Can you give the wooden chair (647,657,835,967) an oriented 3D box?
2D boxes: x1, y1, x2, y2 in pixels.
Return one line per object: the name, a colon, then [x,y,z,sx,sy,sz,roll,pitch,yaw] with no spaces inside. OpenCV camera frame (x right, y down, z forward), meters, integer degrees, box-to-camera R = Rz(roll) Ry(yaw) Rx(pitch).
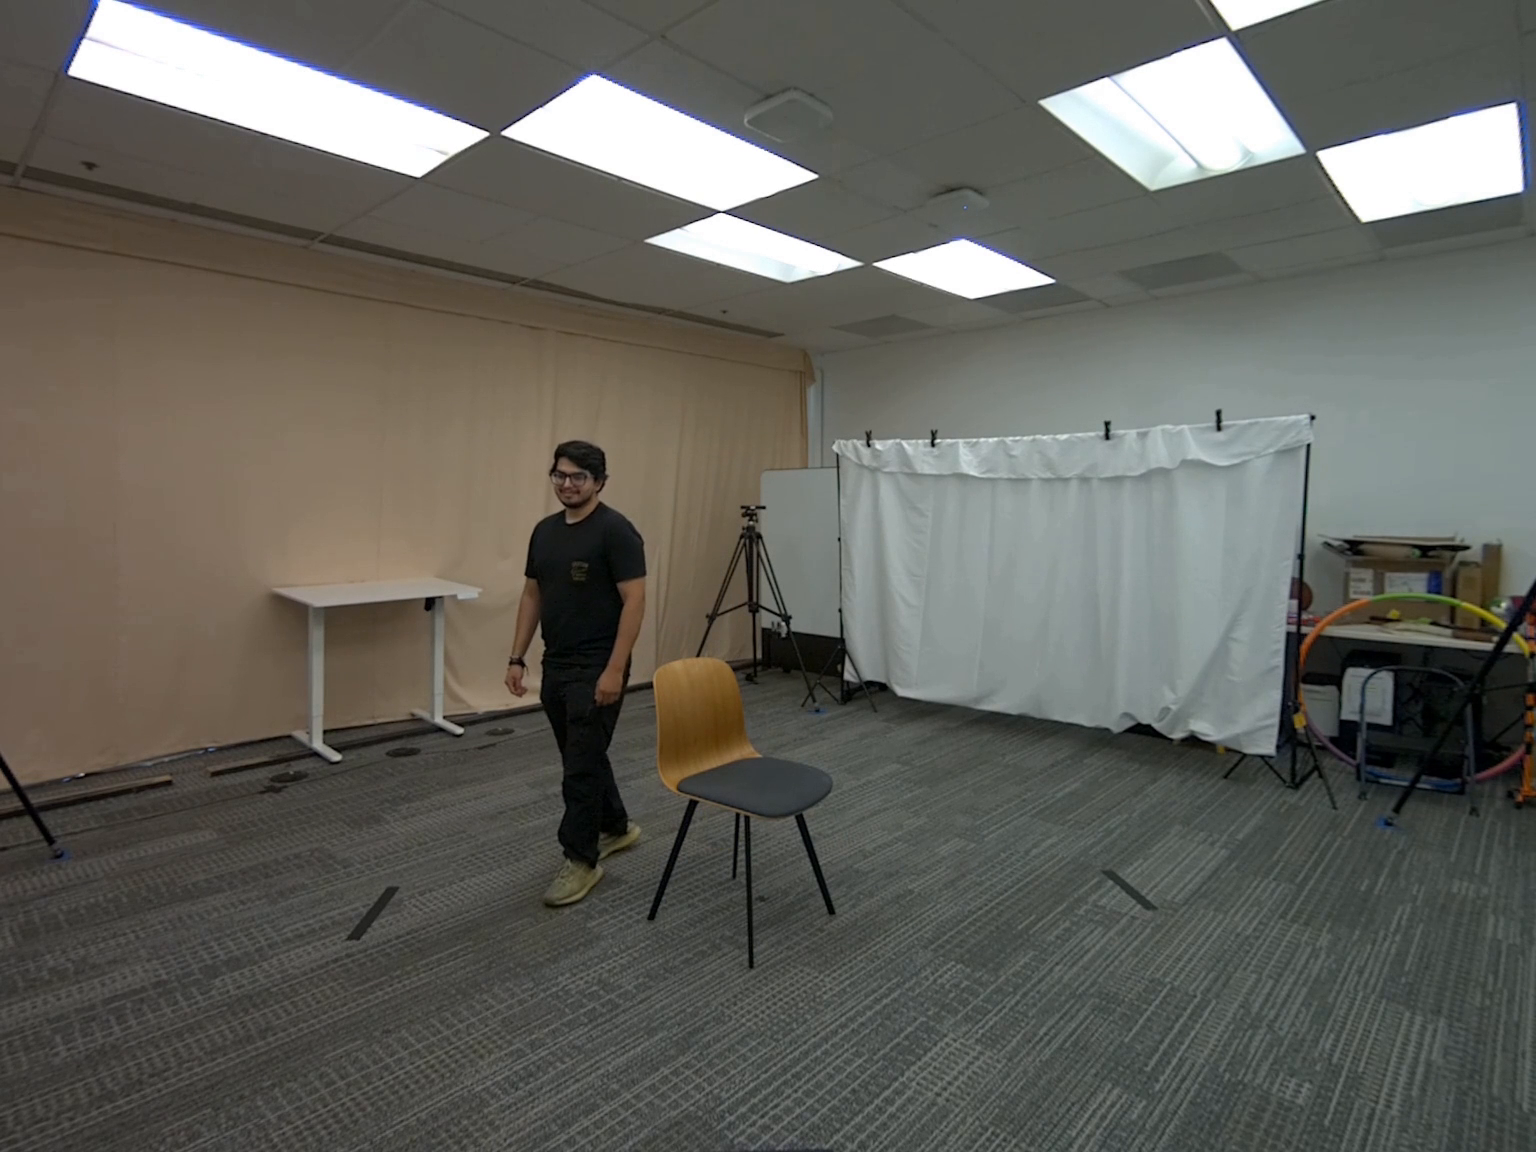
wooden chair: [-0.081,0.733,2.810,0.539,0.877,0.463,-3,0,40]
